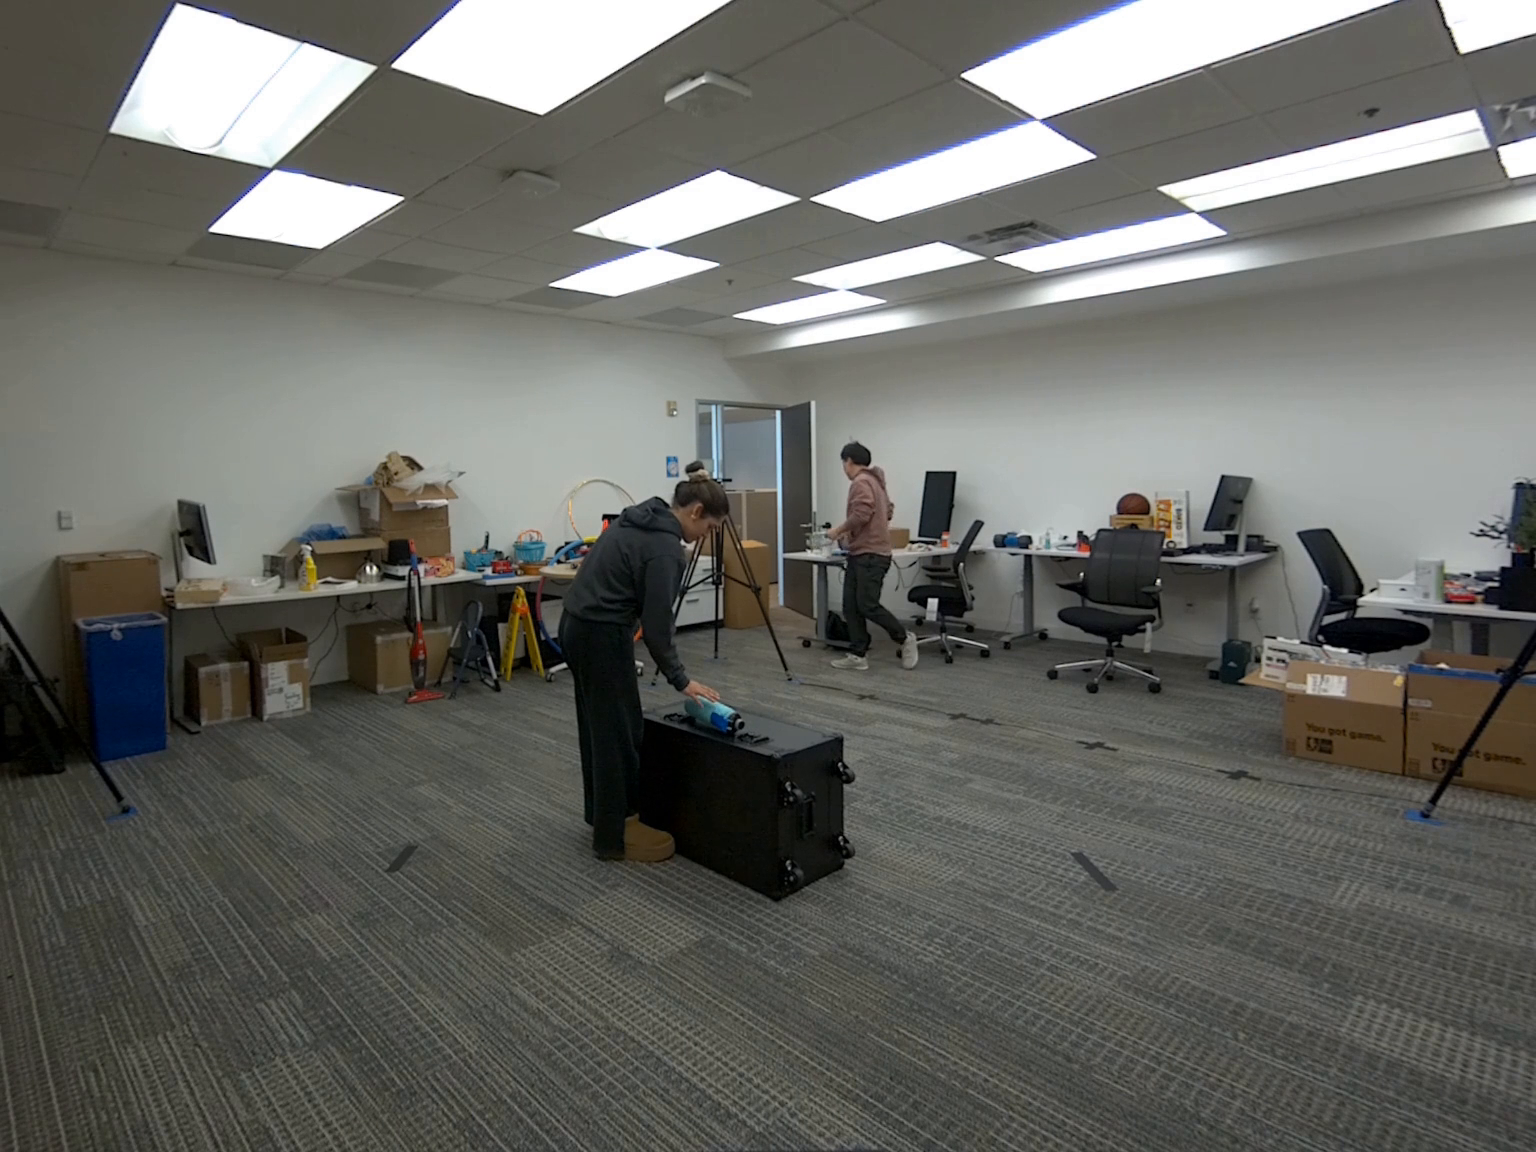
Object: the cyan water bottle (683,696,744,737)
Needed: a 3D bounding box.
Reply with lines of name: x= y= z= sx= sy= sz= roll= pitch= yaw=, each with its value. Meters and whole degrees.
cyan water bottle: x=-0.192 y=0.506 z=3.139 sx=0.090 sy=0.091 sz=0.293 roll=-4 pitch=12 yaw=-38
